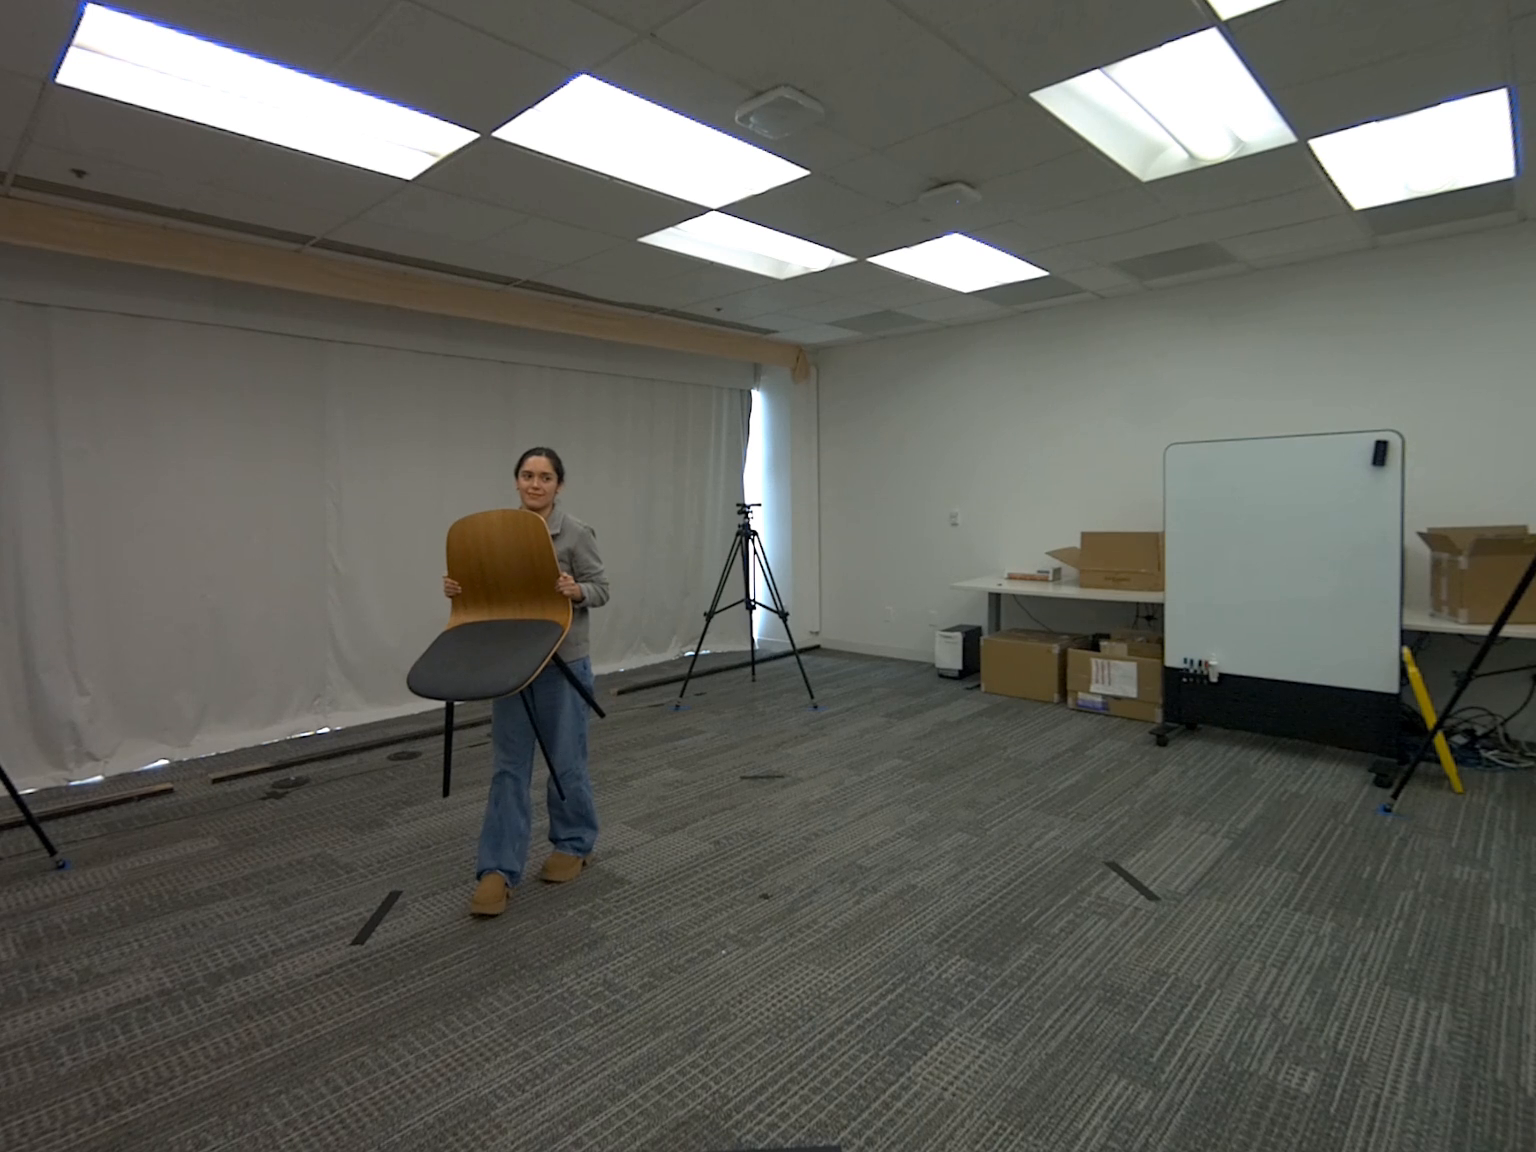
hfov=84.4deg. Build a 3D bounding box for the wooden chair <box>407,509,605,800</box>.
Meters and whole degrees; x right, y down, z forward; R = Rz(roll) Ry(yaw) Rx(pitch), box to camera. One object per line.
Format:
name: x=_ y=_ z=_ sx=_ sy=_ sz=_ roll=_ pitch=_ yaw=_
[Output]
wooden chair: x=-0.907 y=0.272 z=2.830 sx=0.485 sy=0.864 sz=0.524 roll=-1 pitch=22 yaw=12
